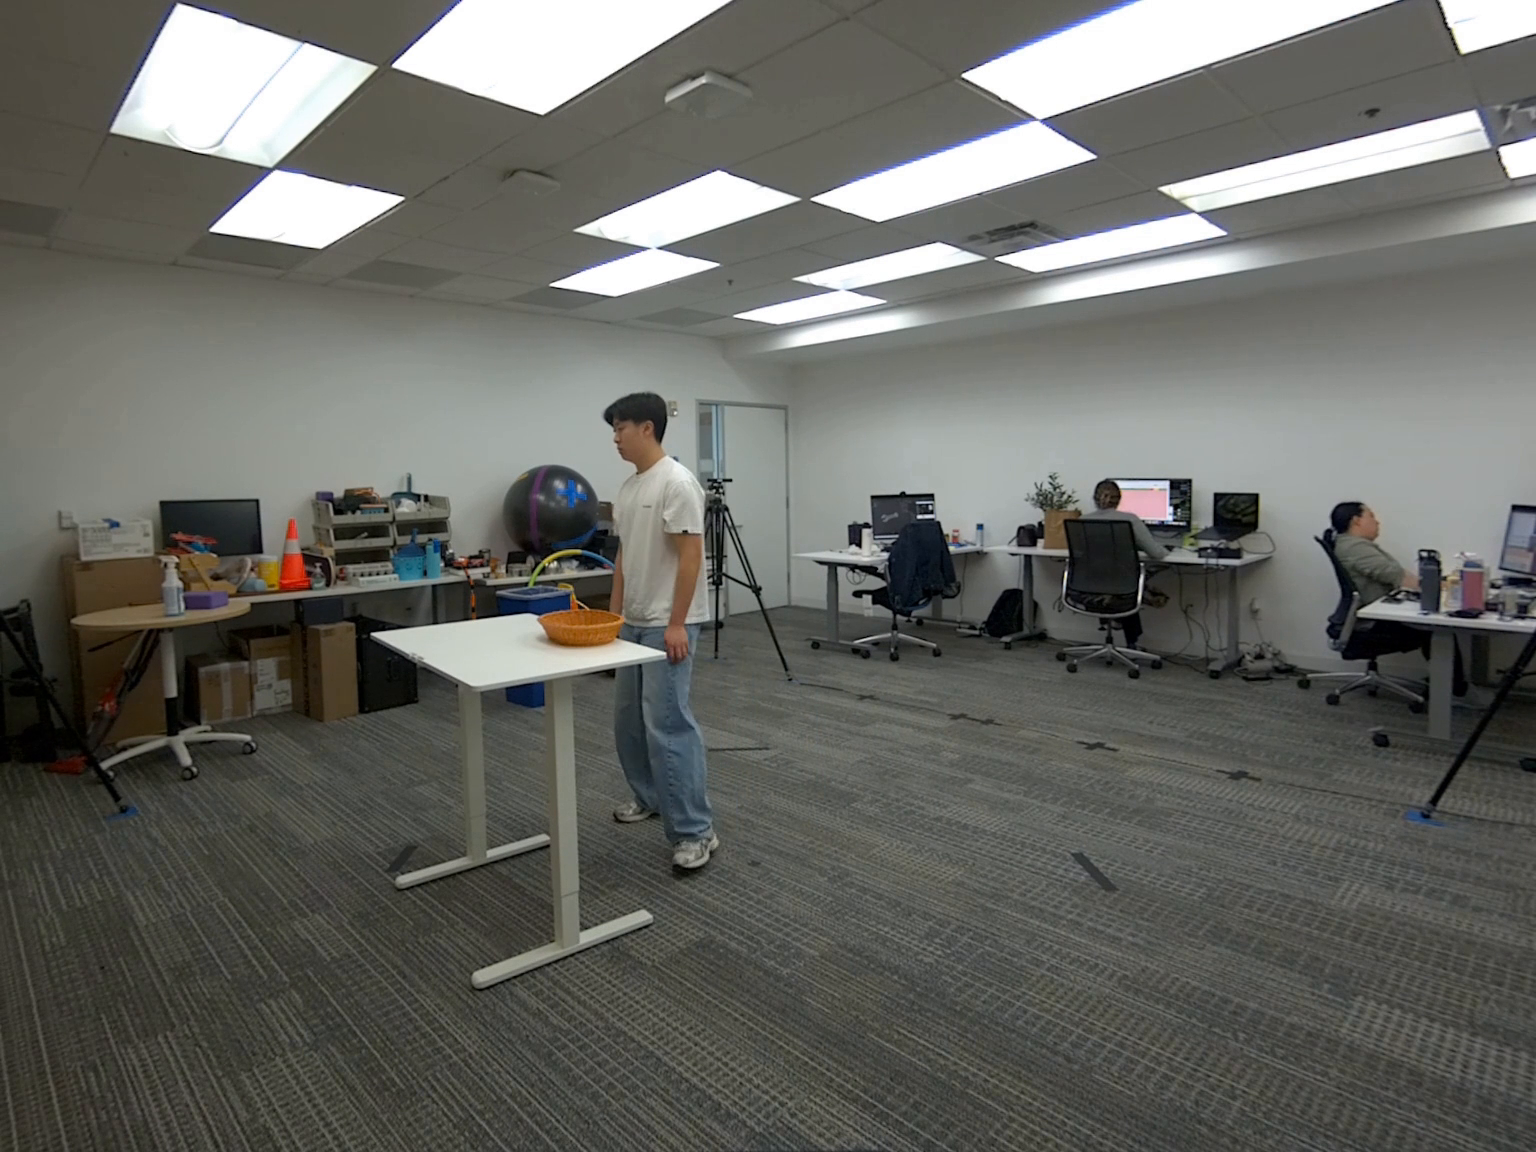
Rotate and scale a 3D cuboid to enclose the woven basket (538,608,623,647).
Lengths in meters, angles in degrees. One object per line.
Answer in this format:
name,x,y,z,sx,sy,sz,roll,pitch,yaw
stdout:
woven basket,-0.634,0.176,2.820,0.247,0.073,0.360,-5,8,-29
